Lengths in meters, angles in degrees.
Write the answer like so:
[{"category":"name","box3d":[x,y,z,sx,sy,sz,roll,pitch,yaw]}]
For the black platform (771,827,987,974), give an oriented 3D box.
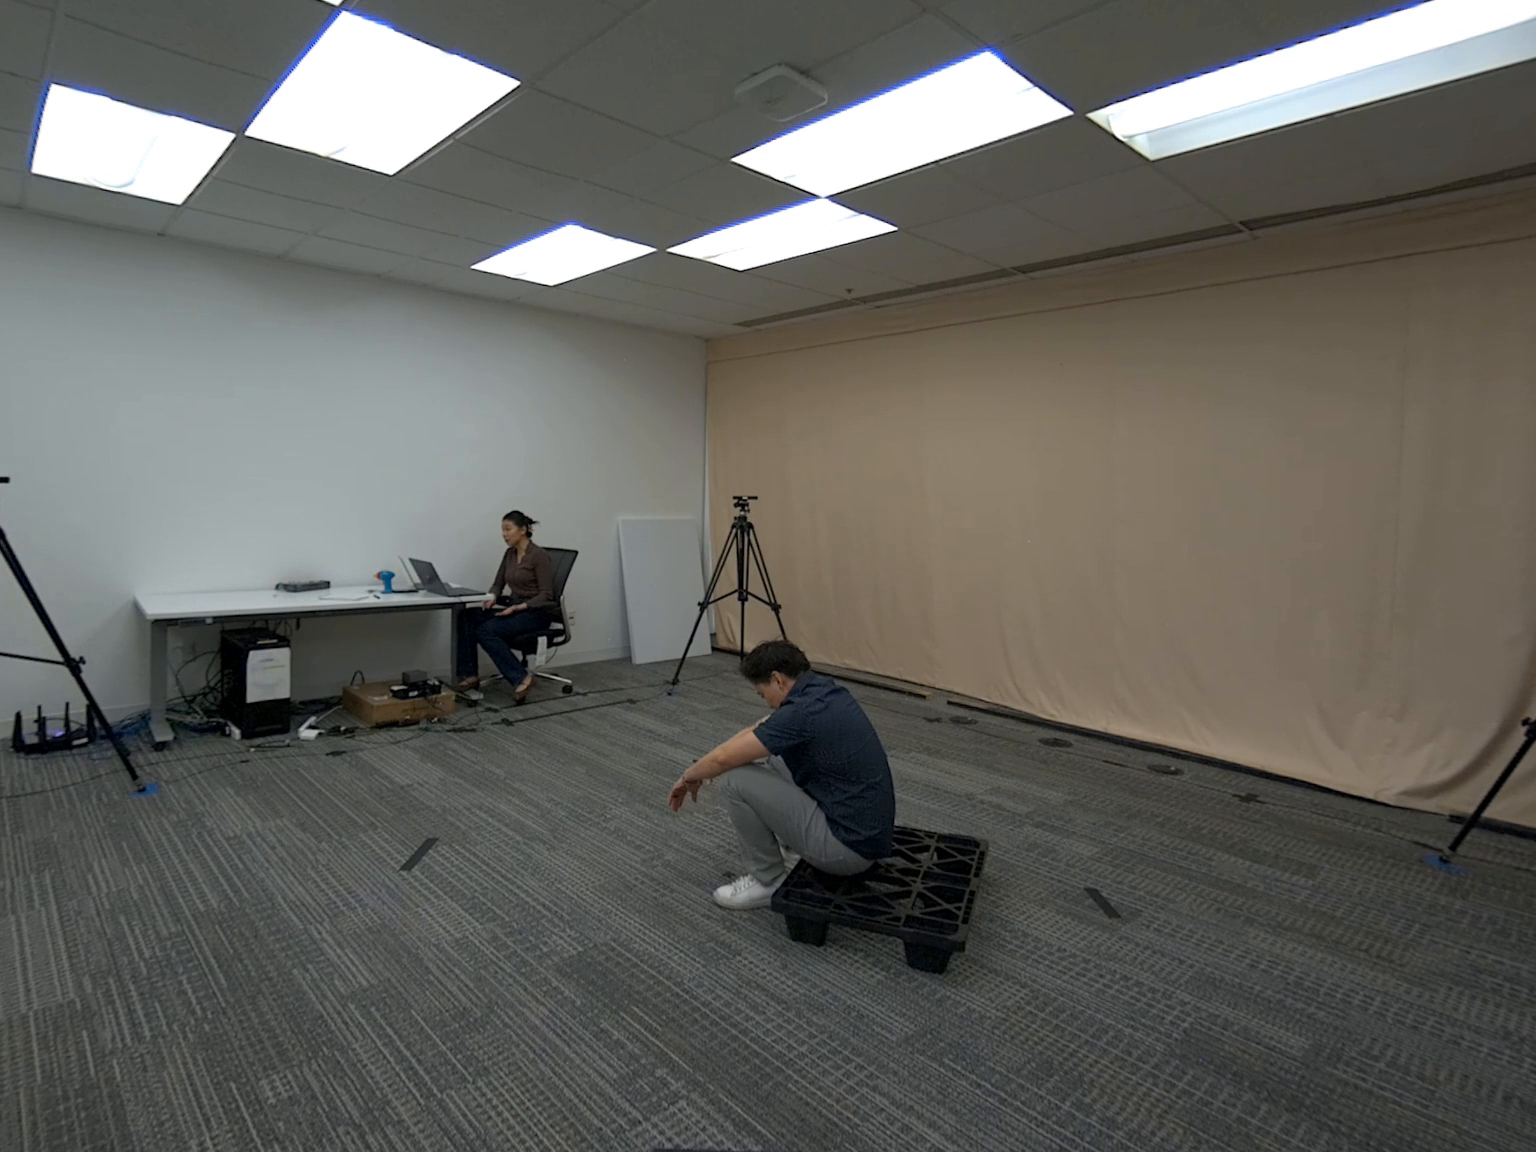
[{"category":"black platform","box3d":[0.405,1.068,2.895,0.615,0.143,0.795,3,5,20]}]
